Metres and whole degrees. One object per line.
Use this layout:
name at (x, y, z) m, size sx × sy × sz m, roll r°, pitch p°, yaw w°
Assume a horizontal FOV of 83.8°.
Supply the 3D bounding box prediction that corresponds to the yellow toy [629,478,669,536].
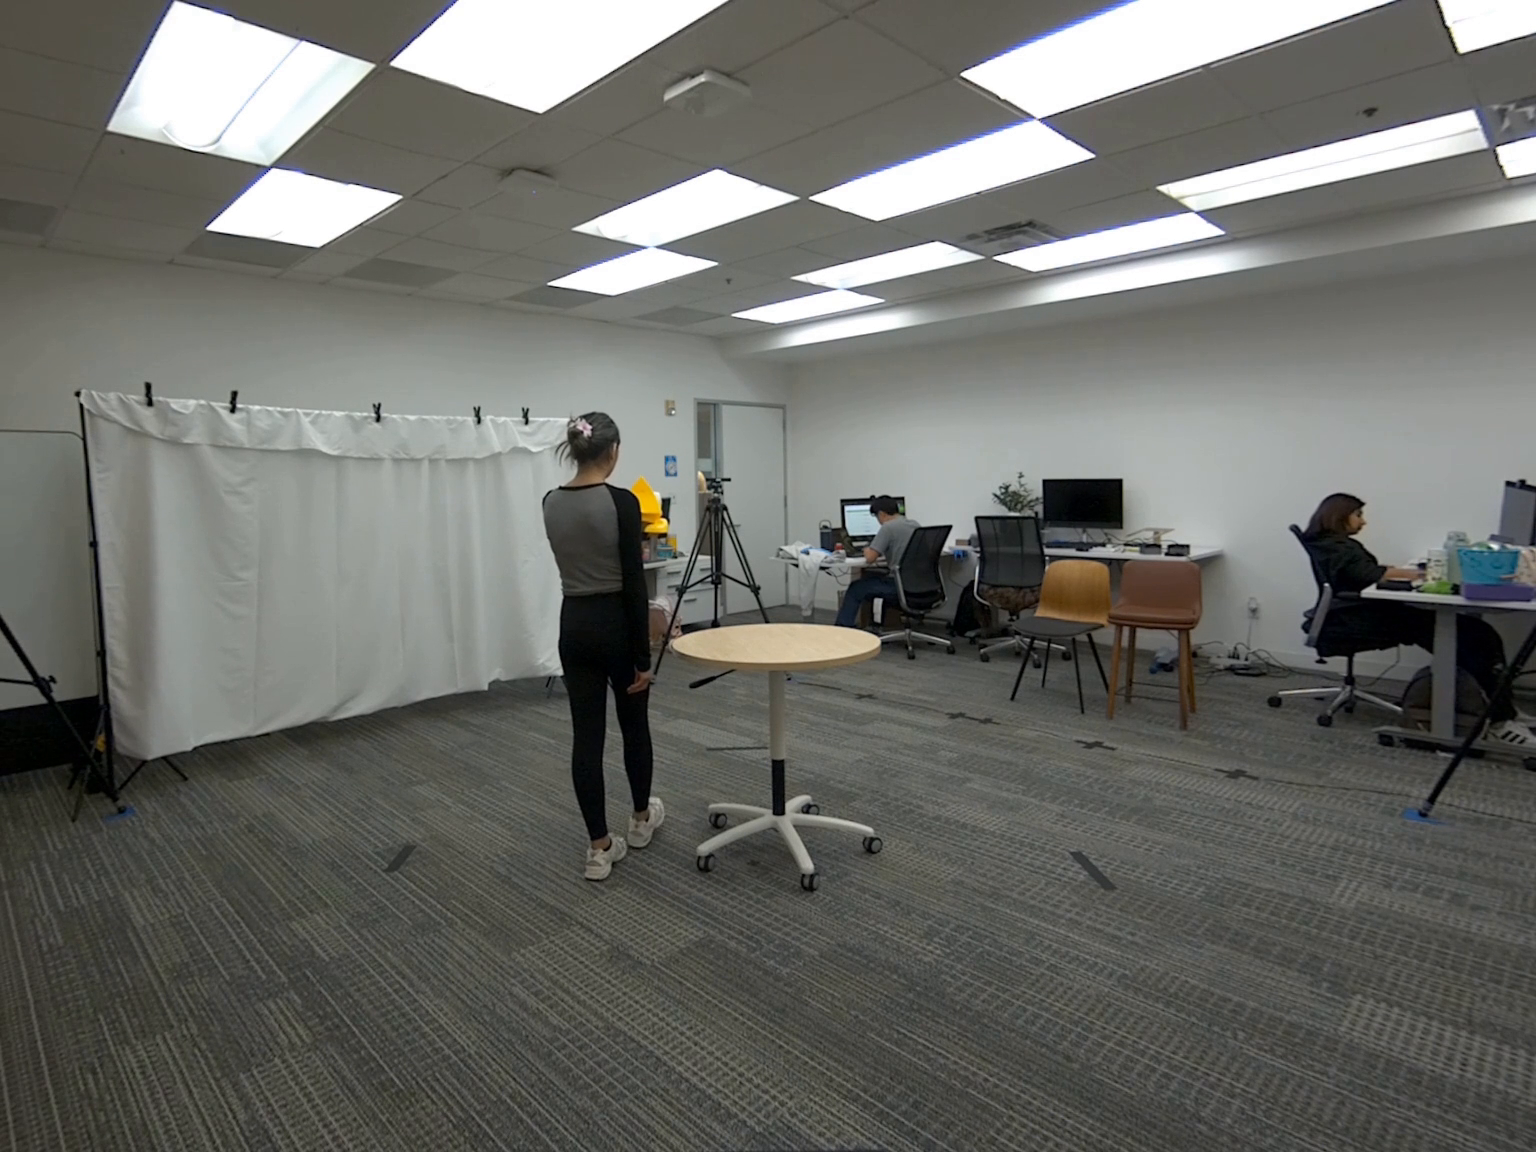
yellow toy at (-0.511, -0.300, 3.593) m, size 0.207 × 0.230 × 0.191 m, roll 2°, pitch 2°, yaw 11°
